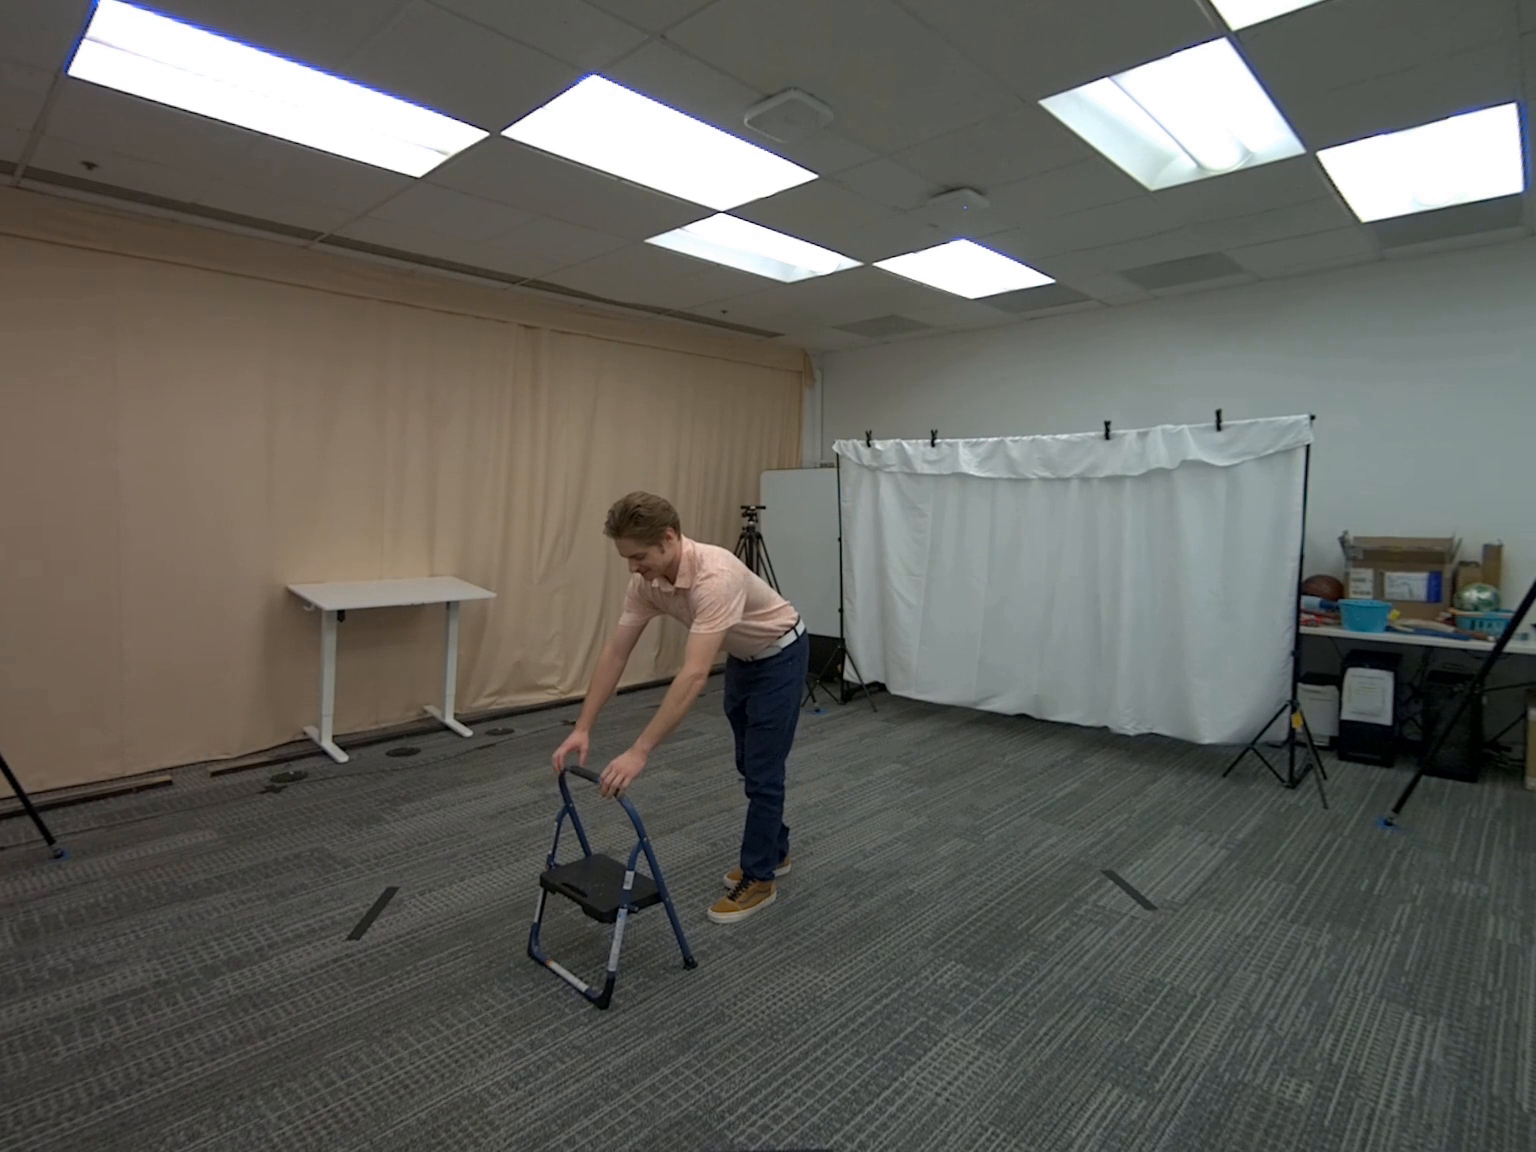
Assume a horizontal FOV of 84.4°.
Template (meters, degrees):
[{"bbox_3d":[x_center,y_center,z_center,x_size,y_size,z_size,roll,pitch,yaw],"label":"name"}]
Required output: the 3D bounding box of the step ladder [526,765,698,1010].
[{"bbox_3d":[-0.483,0.879,2.569,0.445,0.605,0.338,3,4,44],"label":"step ladder"}]
